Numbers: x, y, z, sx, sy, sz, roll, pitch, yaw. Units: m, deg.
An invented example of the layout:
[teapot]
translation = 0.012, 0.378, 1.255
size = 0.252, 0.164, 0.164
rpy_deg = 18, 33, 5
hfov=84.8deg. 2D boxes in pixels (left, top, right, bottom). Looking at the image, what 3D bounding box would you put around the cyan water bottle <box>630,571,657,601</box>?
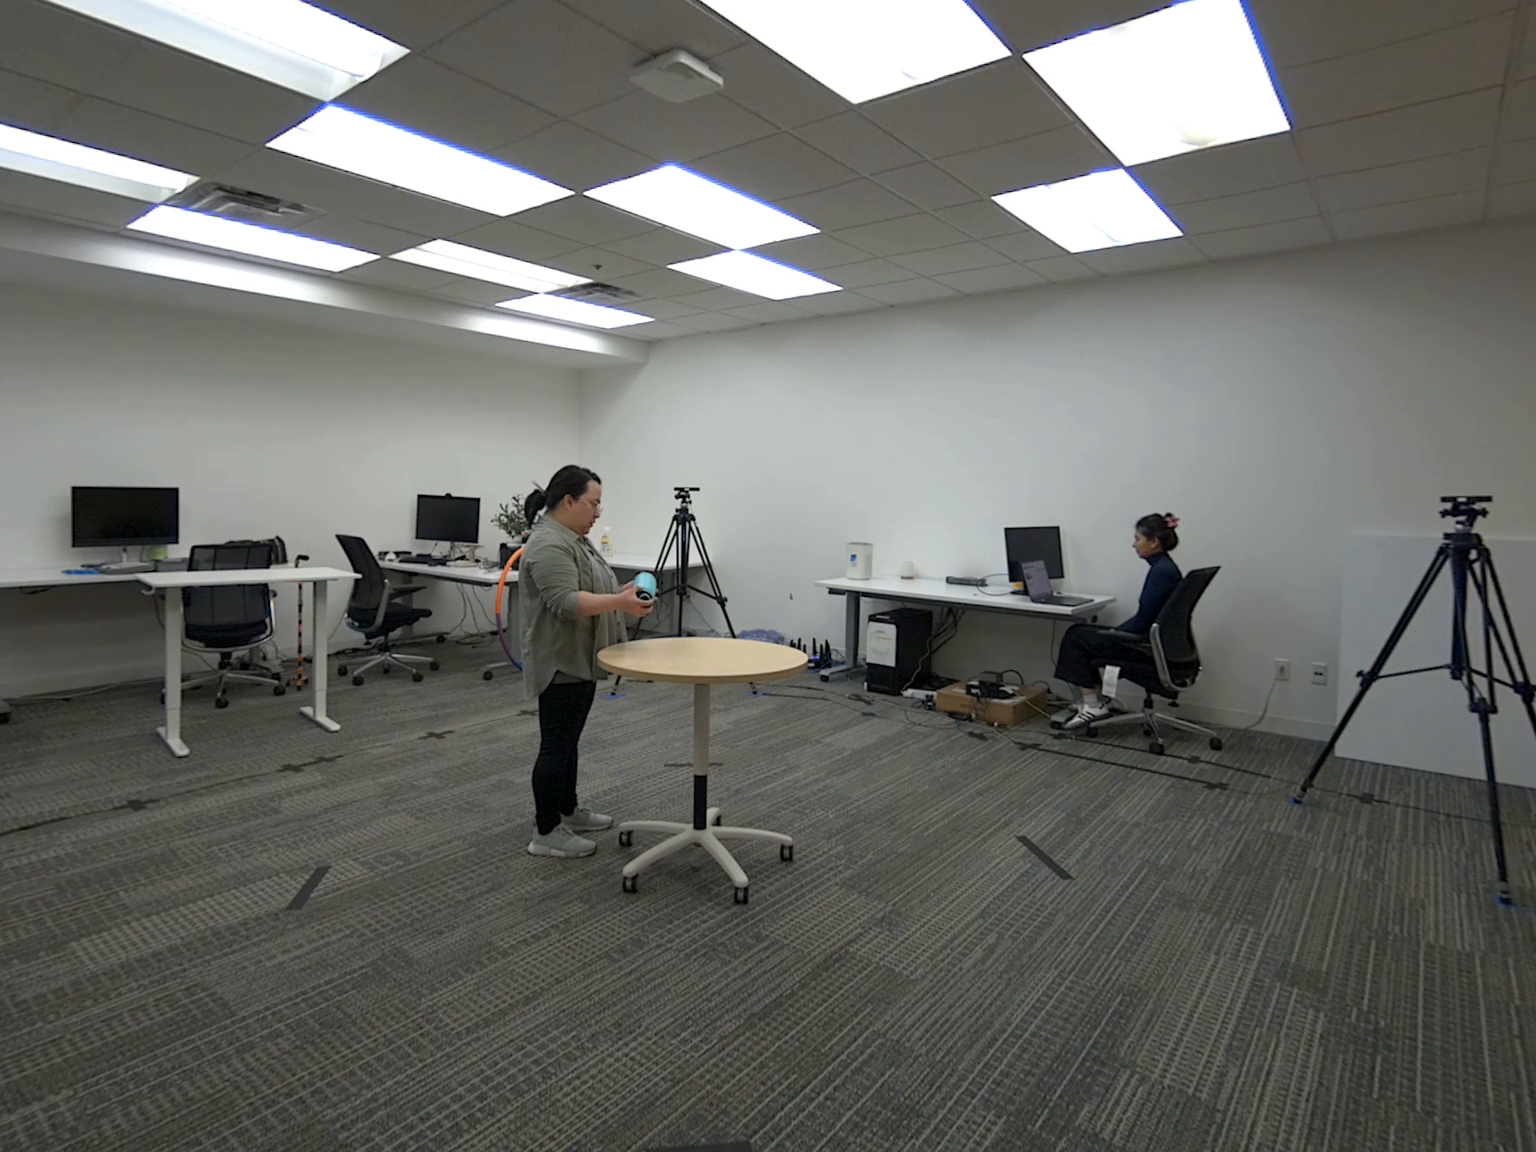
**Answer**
[cyan water bottle]
translation = -0.494, 0.064, 3.259
size = 0.092, 0.091, 0.288
rpy_deg = 0, 12, -7
